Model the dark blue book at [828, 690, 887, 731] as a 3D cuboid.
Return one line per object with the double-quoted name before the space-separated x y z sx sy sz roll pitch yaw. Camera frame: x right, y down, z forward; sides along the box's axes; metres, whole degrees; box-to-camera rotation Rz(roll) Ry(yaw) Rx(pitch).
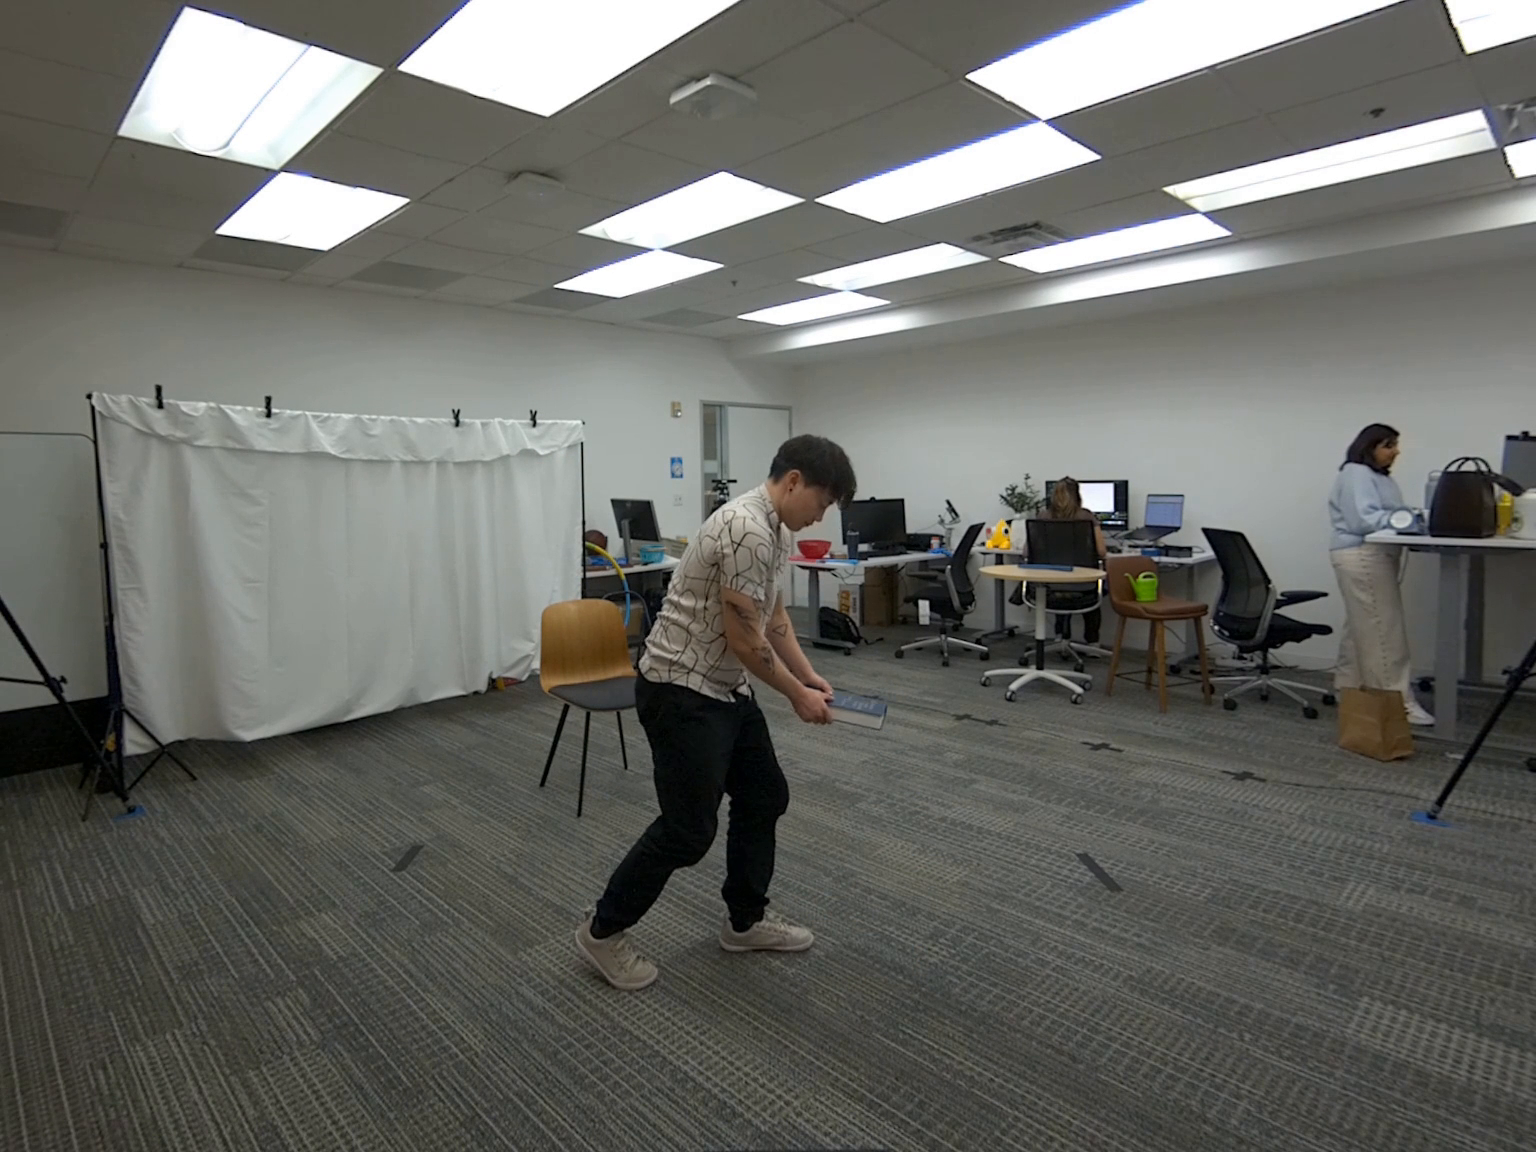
"dark blue book" 0.221 0.379 2.459 0.248 0.045 0.162 7 8 11
